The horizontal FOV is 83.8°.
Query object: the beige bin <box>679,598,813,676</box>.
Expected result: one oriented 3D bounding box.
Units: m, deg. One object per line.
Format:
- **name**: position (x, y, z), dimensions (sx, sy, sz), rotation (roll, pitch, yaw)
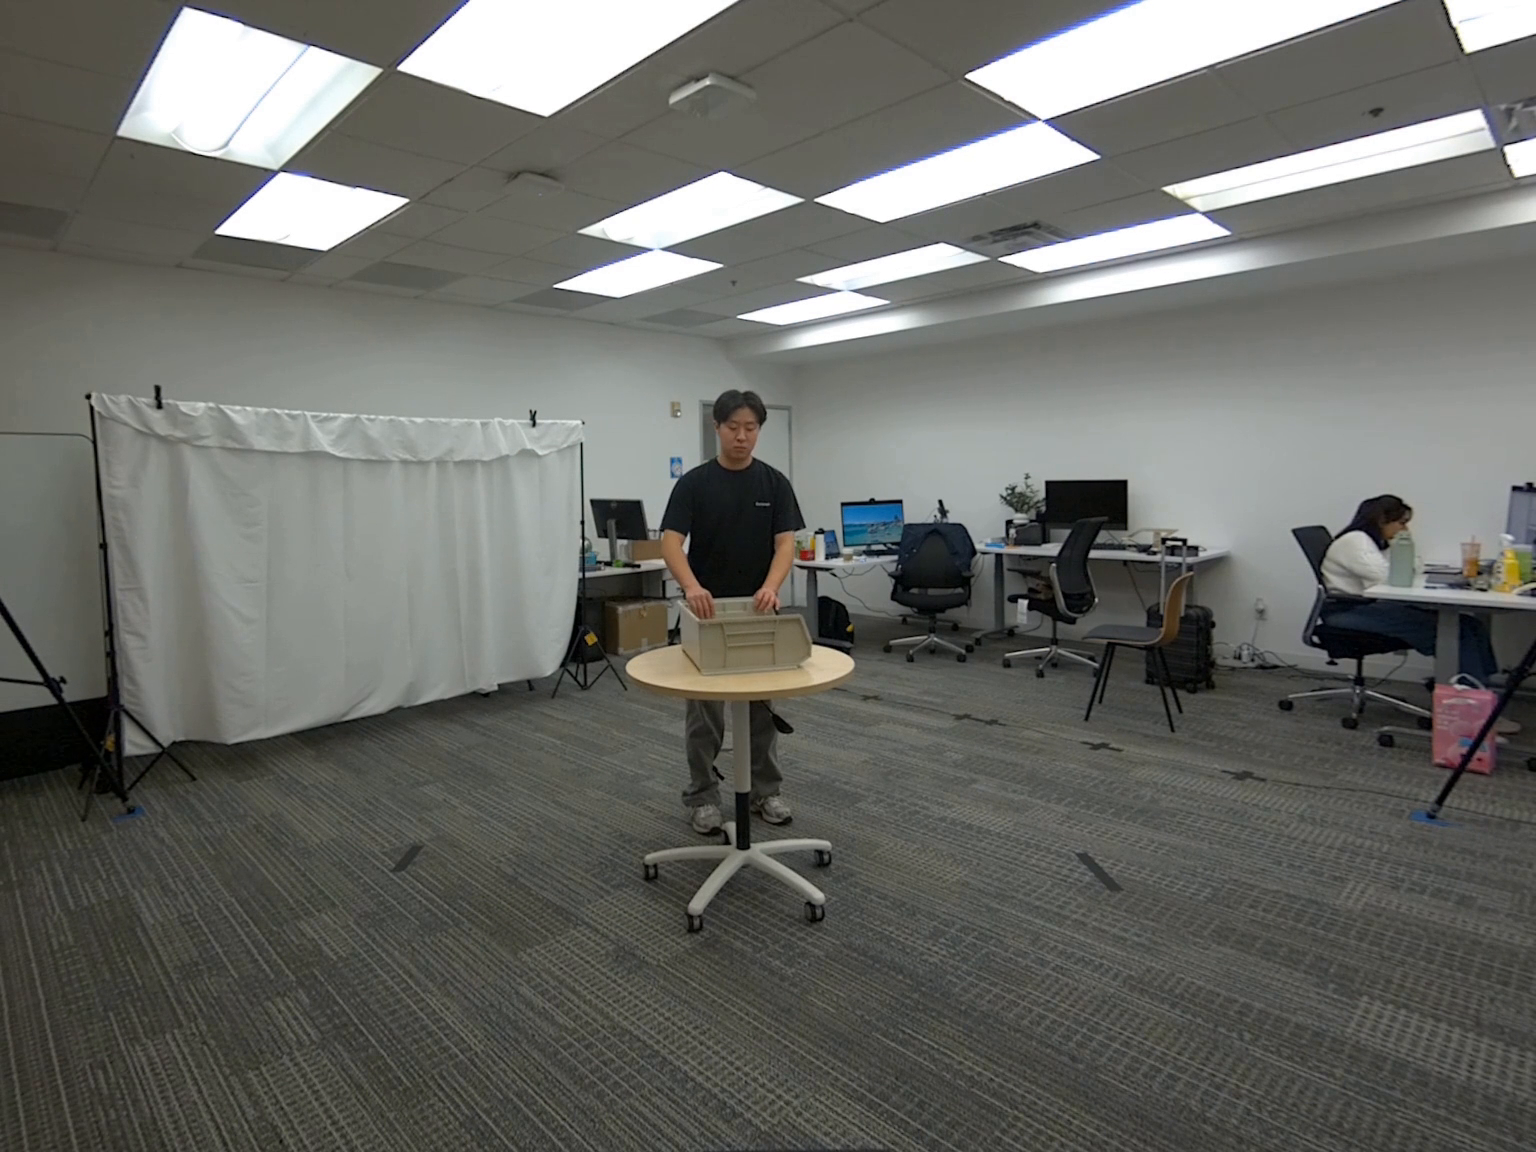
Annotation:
- **beige bin**: position (-0.093, 0.199, 2.926), dimensions (0.373, 0.188, 0.430), rotation (-3, 7, -13)
